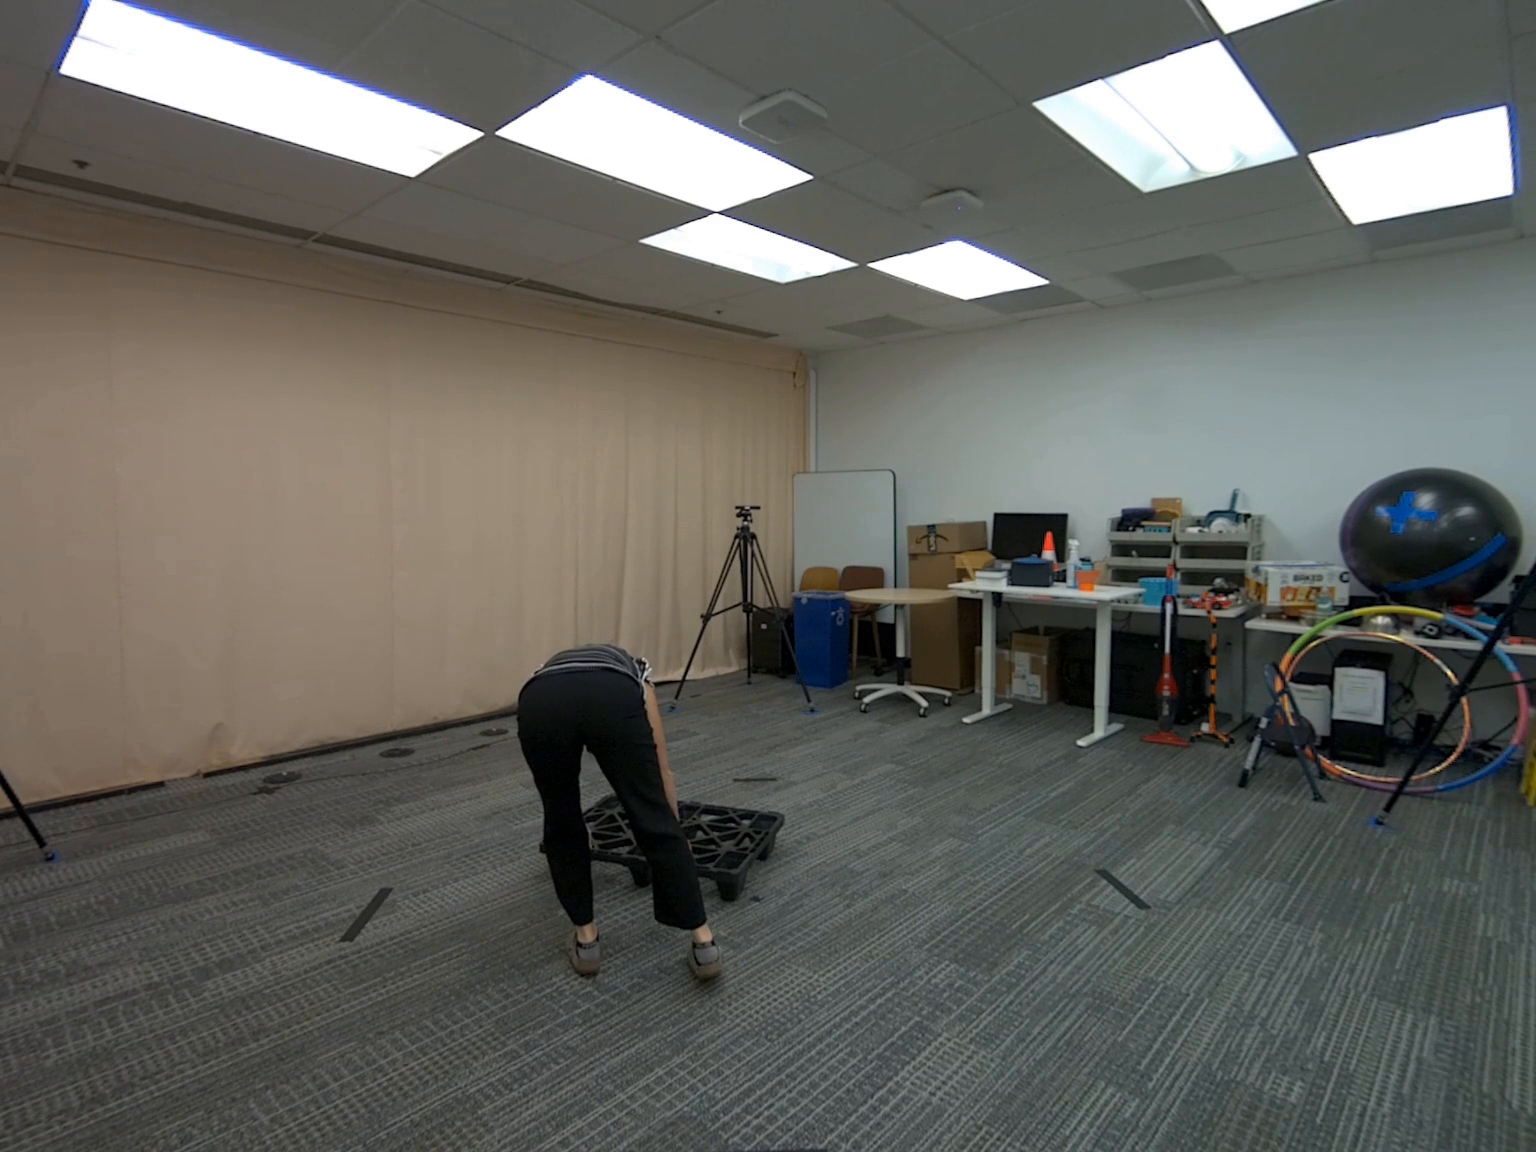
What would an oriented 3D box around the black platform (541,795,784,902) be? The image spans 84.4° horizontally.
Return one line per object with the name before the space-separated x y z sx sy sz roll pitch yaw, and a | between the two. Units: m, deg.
black platform | -0.398 1.050 3.303 0.822 0.143 0.594 2 4 19
